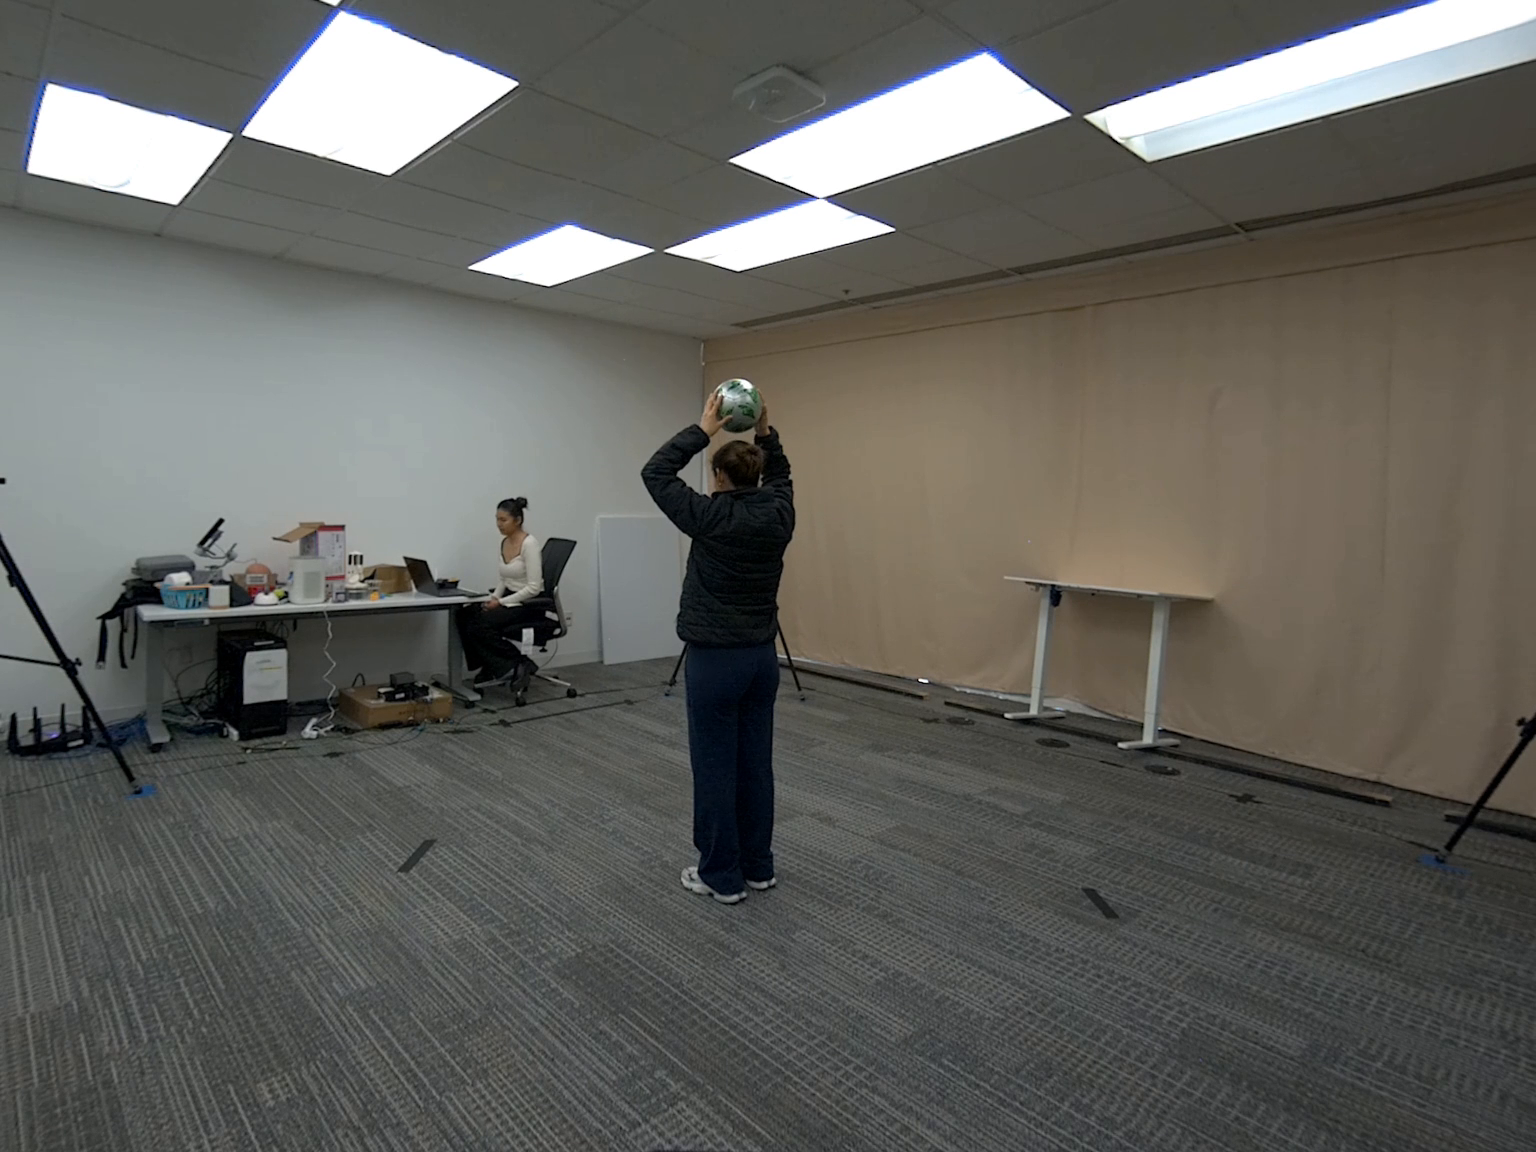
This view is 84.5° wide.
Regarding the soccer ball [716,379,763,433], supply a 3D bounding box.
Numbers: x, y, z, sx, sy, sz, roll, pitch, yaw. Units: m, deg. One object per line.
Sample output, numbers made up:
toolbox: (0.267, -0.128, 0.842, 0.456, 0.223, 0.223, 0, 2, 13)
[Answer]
soccer ball: (-0.115, -0.595, 2.979, 0.187, 0.187, 0.188, 1, 4, -1)
